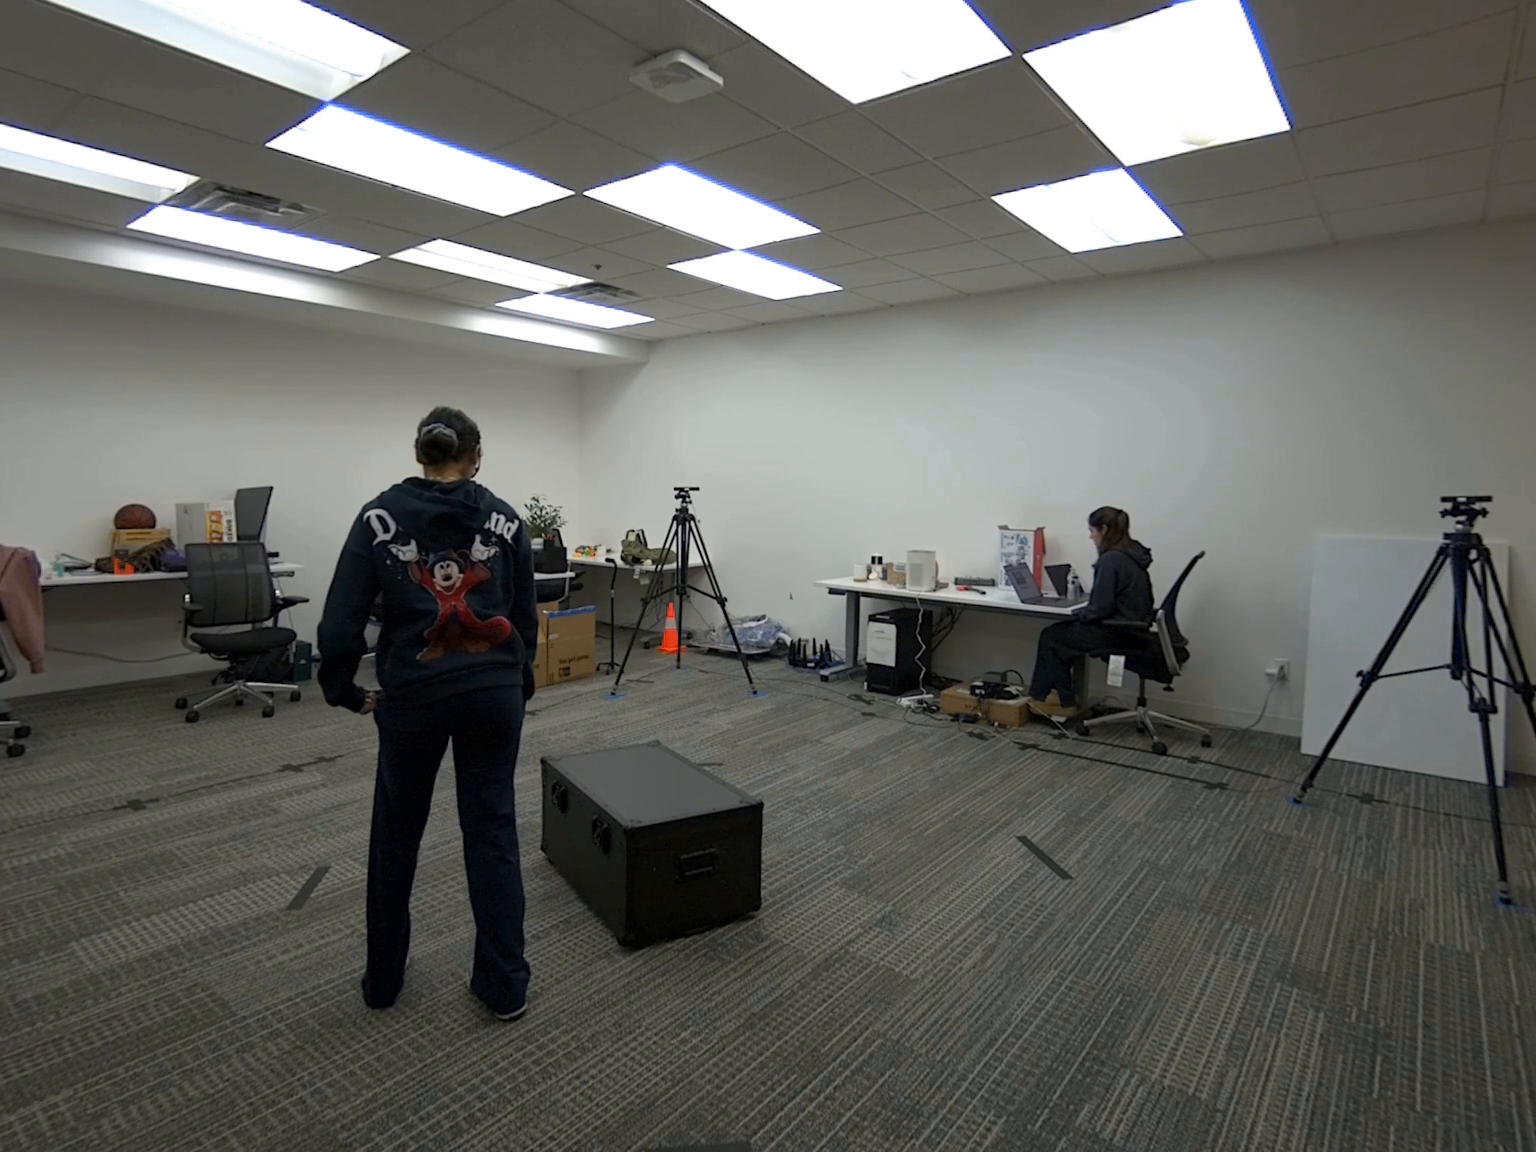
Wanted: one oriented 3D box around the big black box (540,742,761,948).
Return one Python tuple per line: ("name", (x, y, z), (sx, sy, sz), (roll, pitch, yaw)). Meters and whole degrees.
("big black box", (-0.470, 0.903, 2.988), (0.385, 0.520, 0.889), (0, 4, -34))
